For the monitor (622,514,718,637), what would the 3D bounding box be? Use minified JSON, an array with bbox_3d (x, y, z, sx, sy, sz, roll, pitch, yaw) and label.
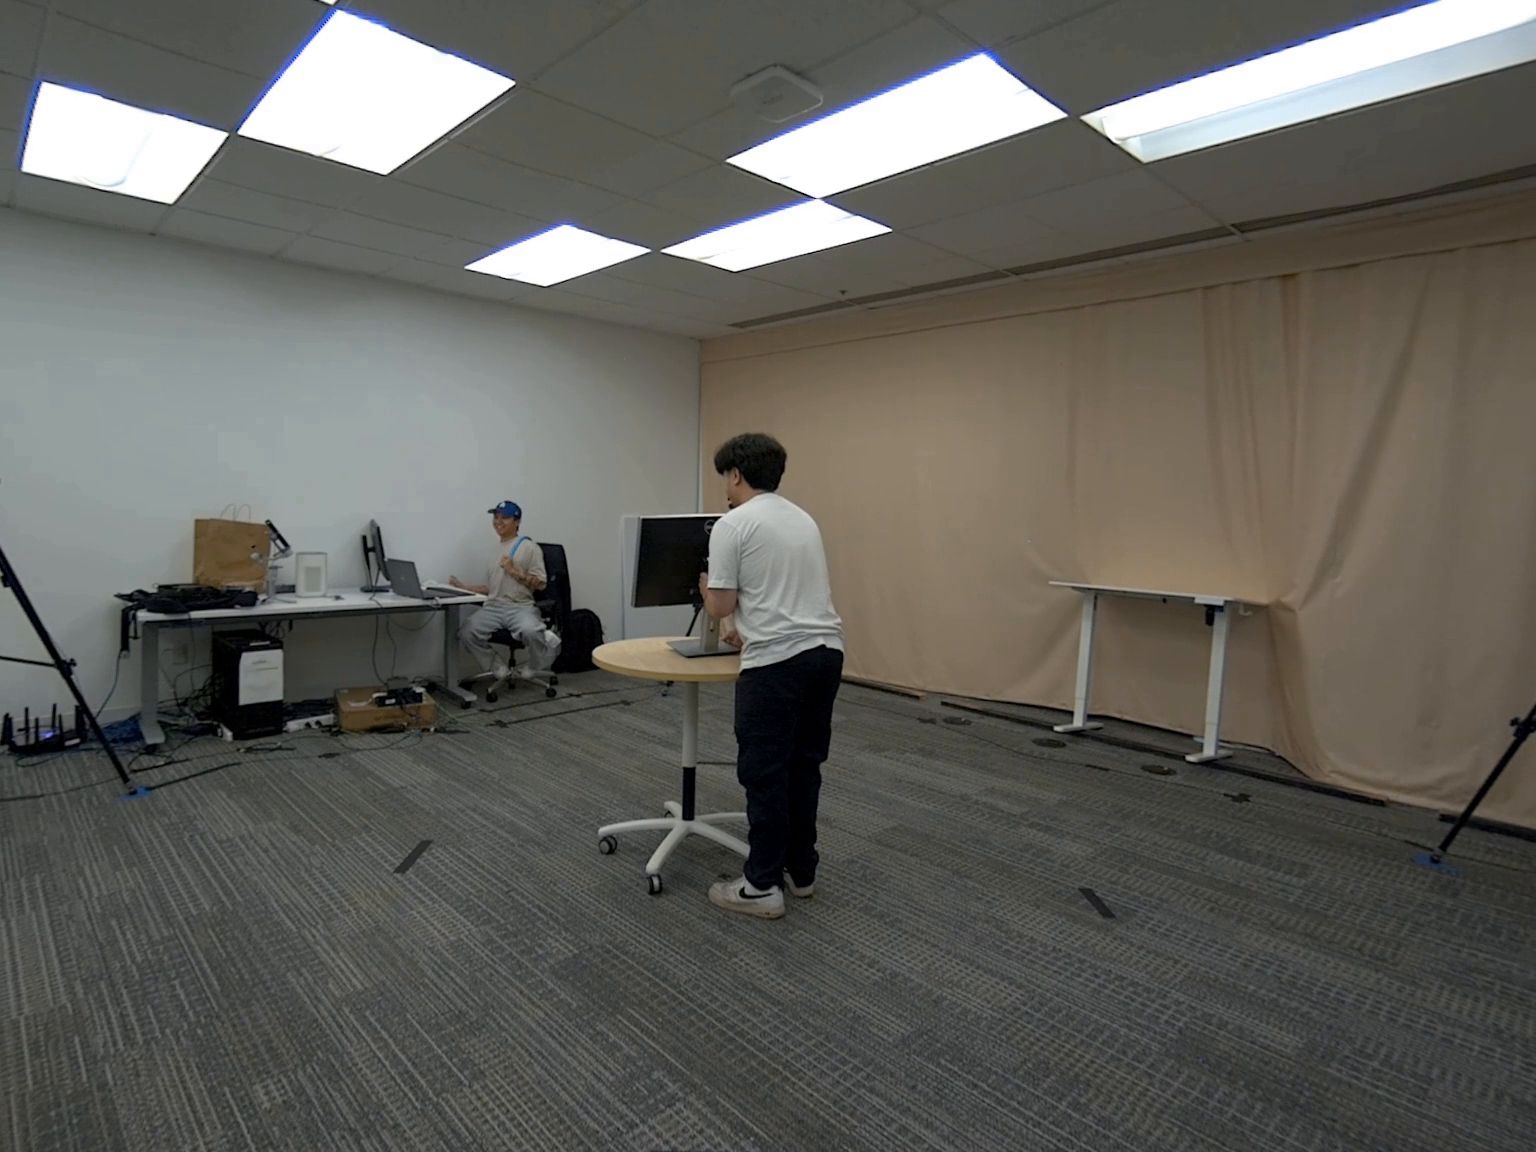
[{"bbox_3d":[-0.226,0.042,3.212,0.554,0.549,0.216,-2,16,-29],"label":"monitor"}]
